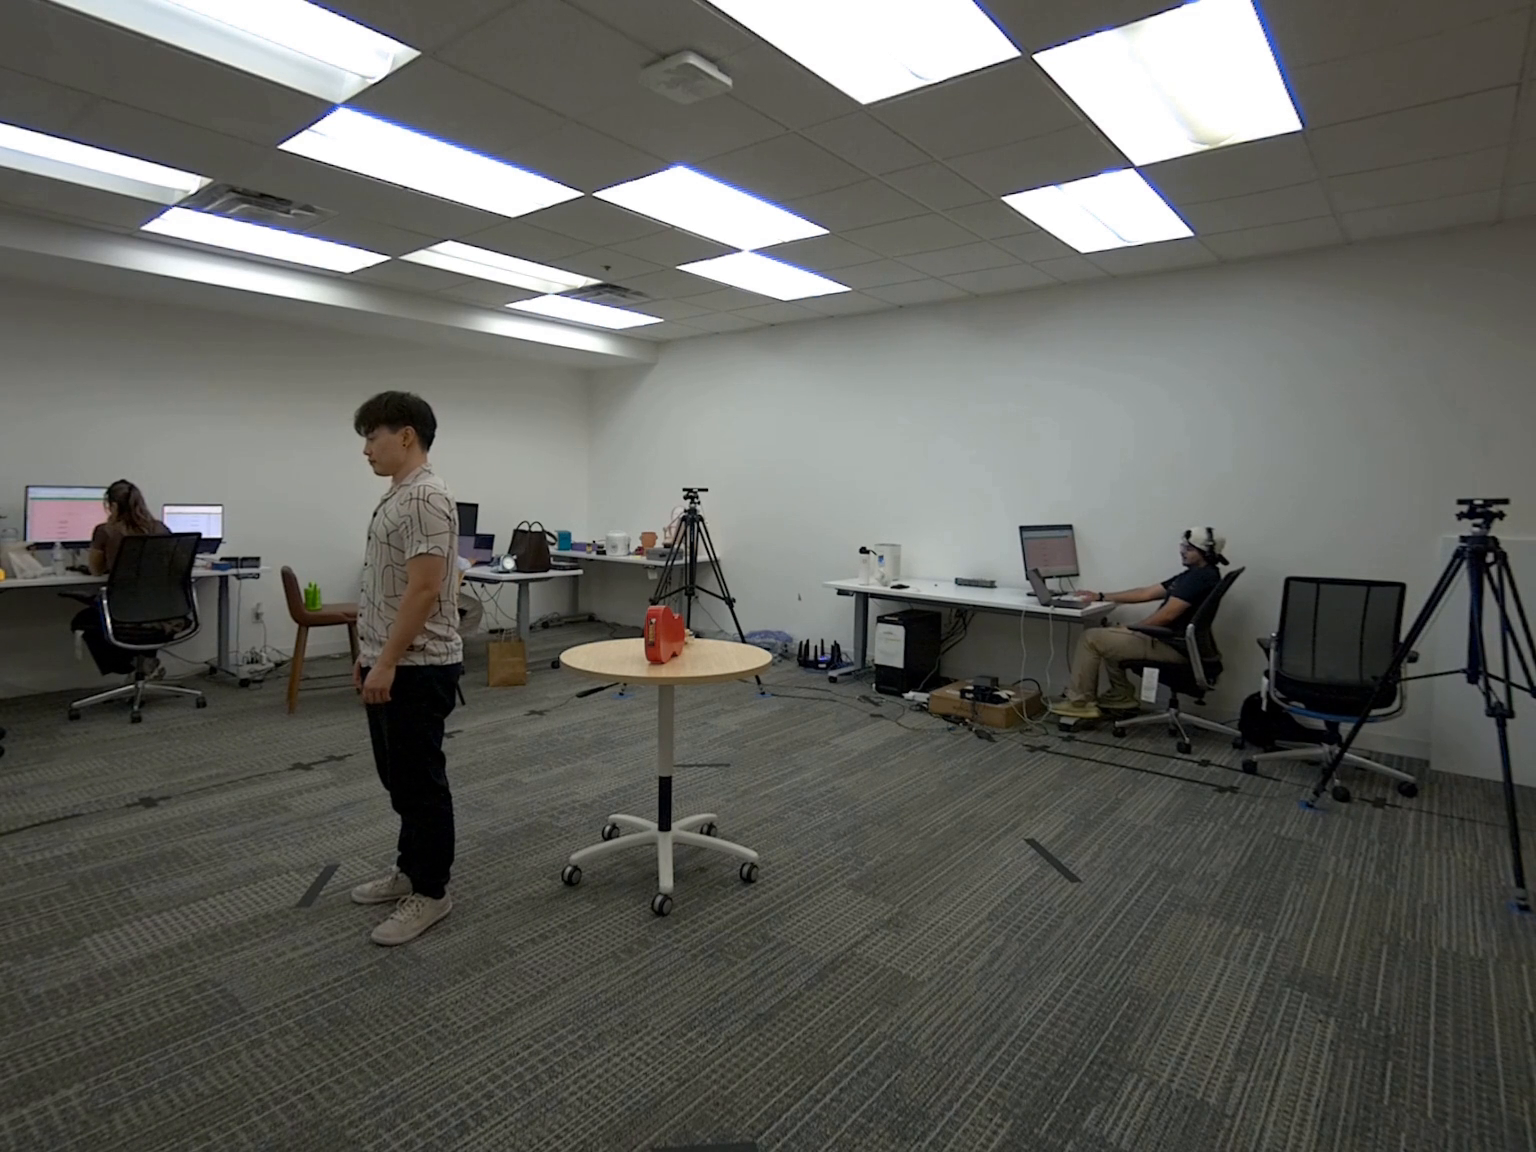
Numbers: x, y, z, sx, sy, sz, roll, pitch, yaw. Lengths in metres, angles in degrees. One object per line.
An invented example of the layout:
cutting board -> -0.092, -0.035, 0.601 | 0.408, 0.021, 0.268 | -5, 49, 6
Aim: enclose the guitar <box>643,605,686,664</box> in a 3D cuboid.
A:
guitar -> -0.353, 0.189, 3.124 | 0.071, 0.192, 0.494 | -1, 4, 8
